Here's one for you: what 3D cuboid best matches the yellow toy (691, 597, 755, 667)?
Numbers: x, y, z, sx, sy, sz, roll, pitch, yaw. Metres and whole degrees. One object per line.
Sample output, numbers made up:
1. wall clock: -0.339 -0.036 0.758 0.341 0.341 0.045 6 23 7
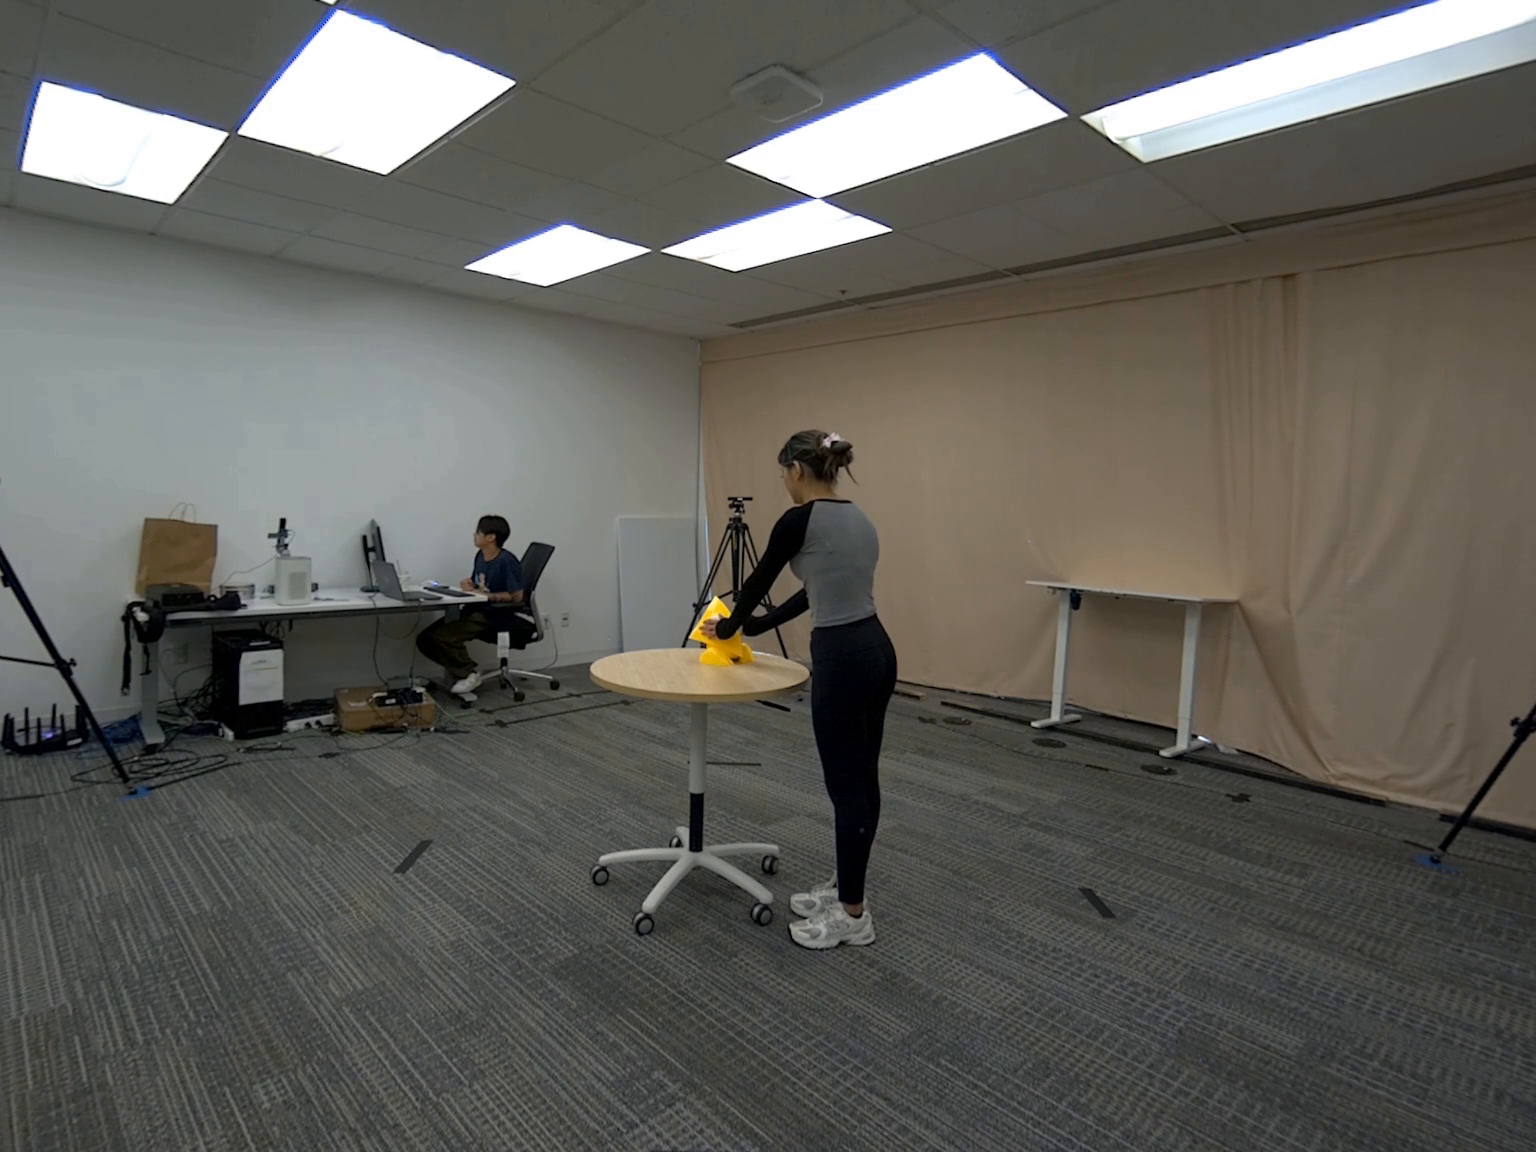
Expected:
1. yellow toy: -0.162 0.197 3.112 0.198 0.230 0.200 7 6 44
